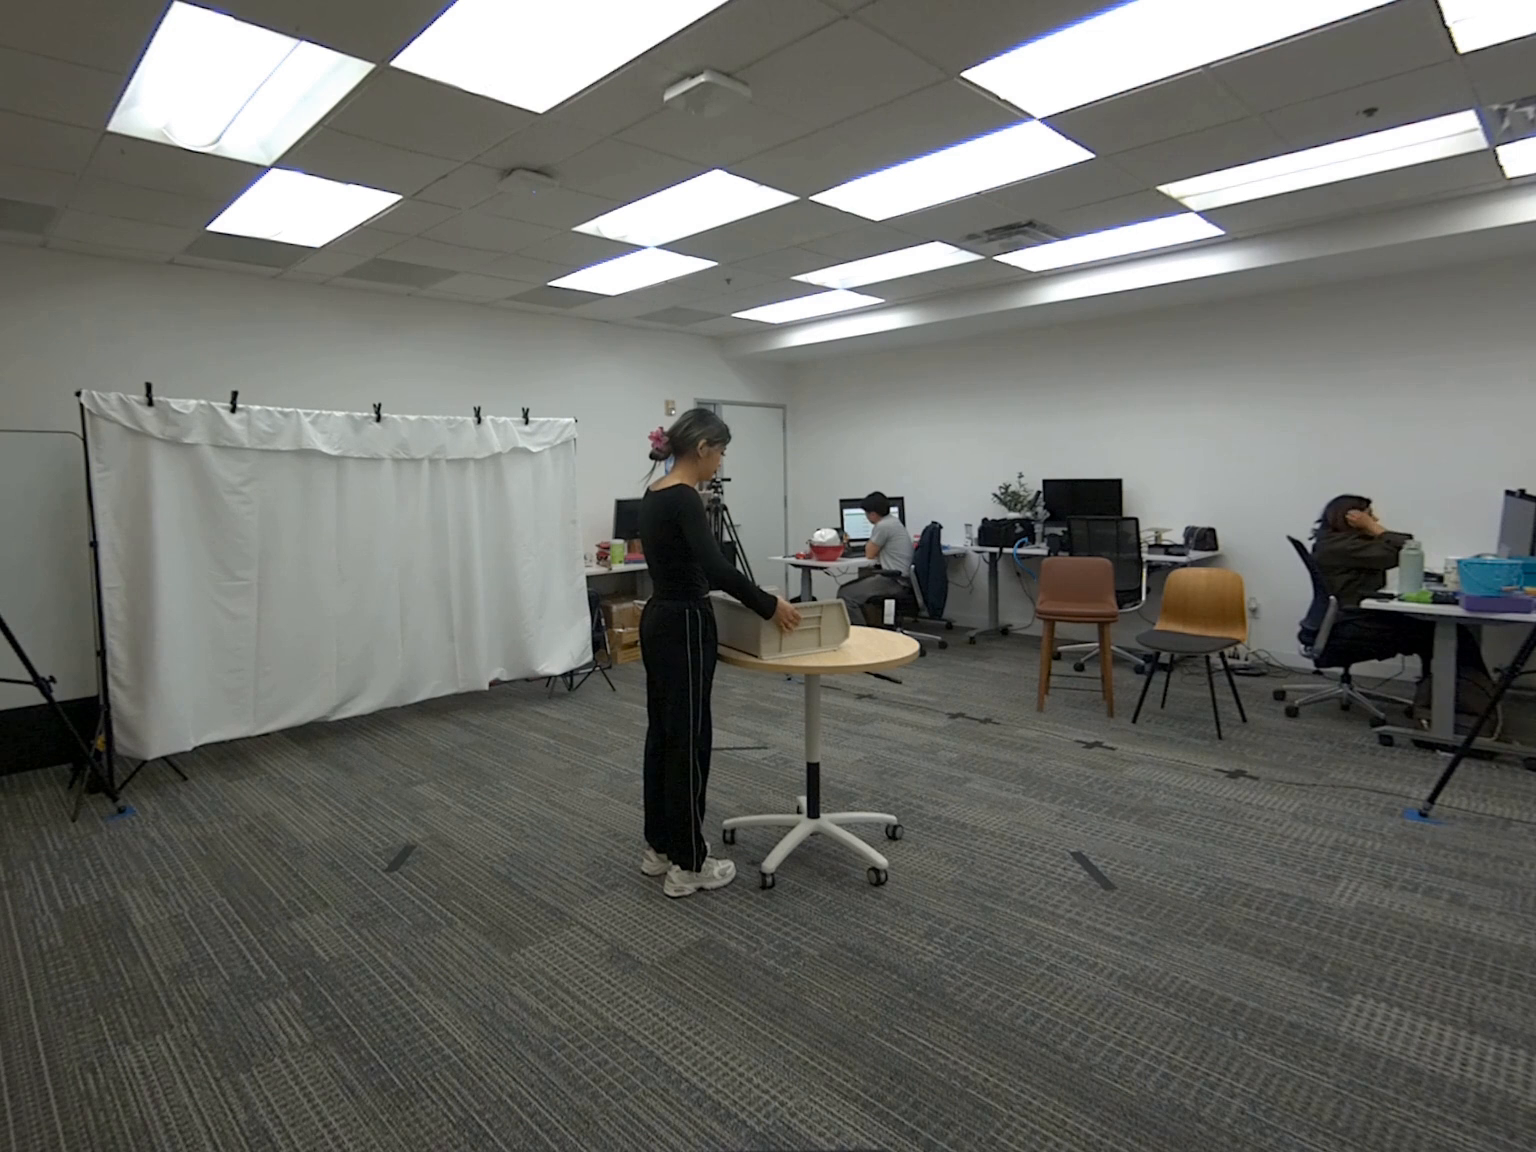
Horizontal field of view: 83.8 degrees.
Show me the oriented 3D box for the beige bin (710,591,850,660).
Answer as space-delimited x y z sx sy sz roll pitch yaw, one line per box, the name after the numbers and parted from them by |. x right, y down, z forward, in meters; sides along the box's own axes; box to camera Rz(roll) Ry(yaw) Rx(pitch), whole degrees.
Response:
0.022 0.156 3.086 0.369 0.188 0.435 -6 9 -31 | beige bin
